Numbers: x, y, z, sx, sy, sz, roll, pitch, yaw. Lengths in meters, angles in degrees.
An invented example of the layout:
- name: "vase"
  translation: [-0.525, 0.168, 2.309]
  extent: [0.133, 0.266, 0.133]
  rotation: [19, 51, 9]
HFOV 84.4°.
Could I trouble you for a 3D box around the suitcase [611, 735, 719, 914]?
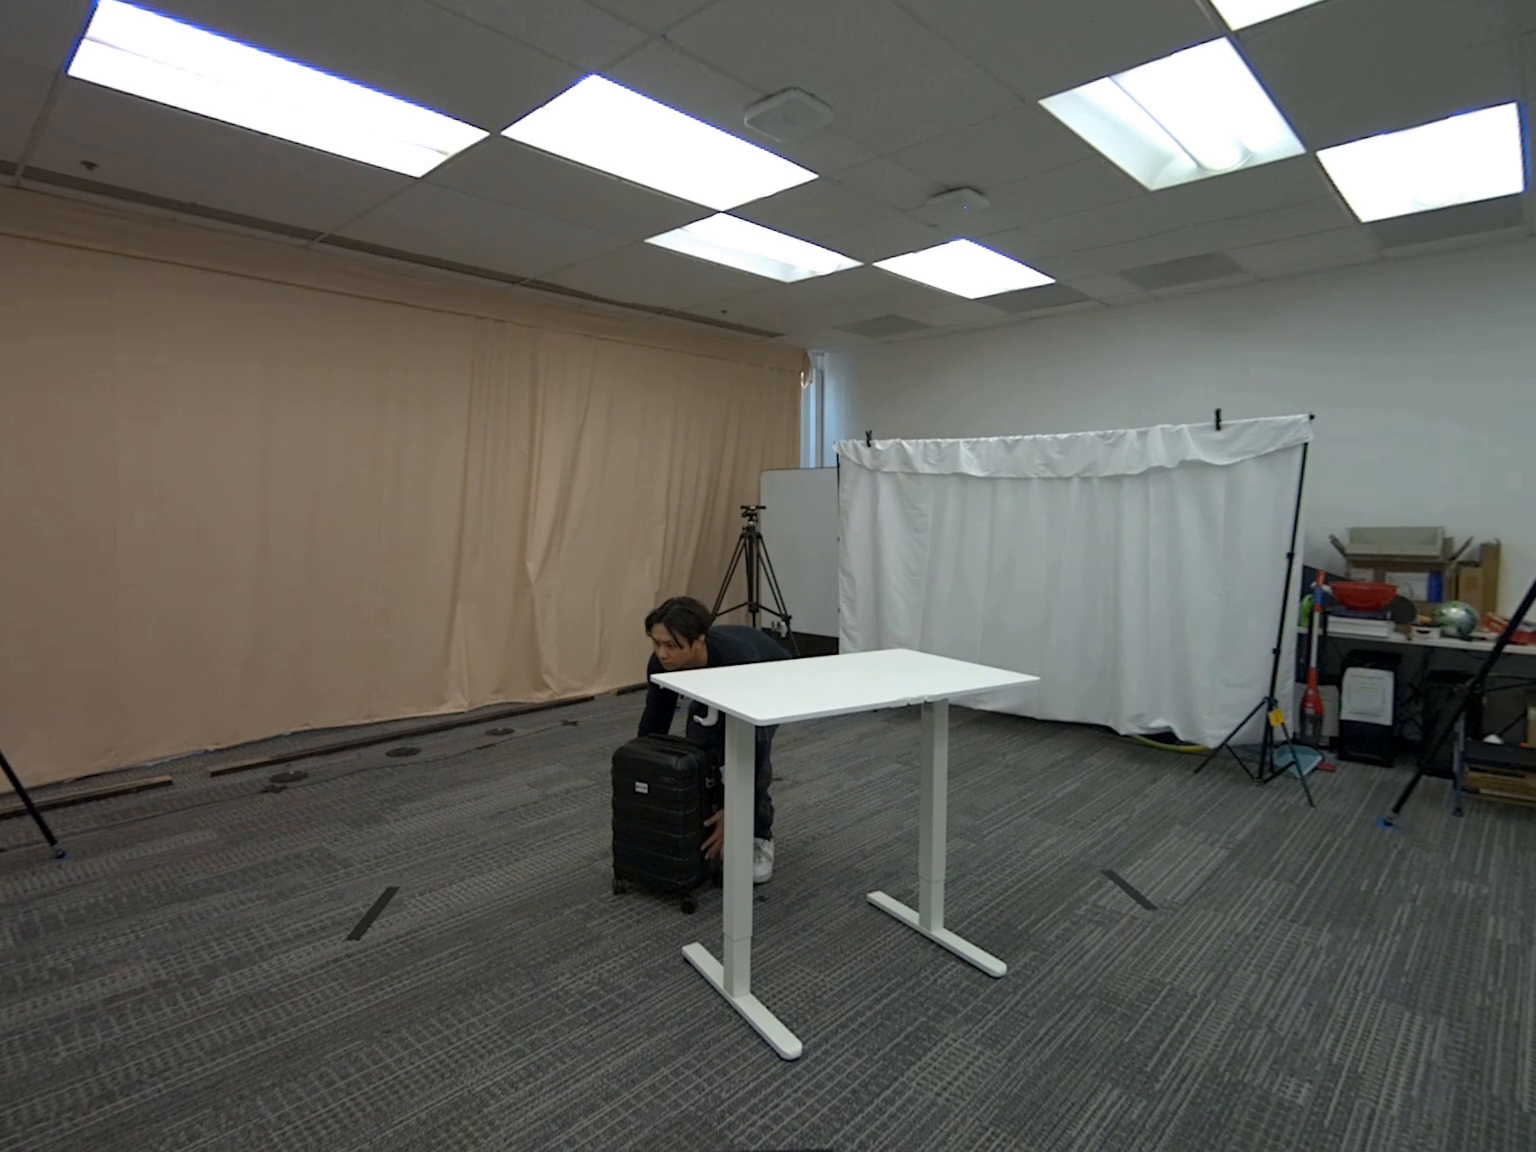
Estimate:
- name: "suitcase"
  translation: [-0.371, 0.865, 3.043]
  extent: [0.386, 0.548, 0.242]
  rotation: [1, 3, 30]
